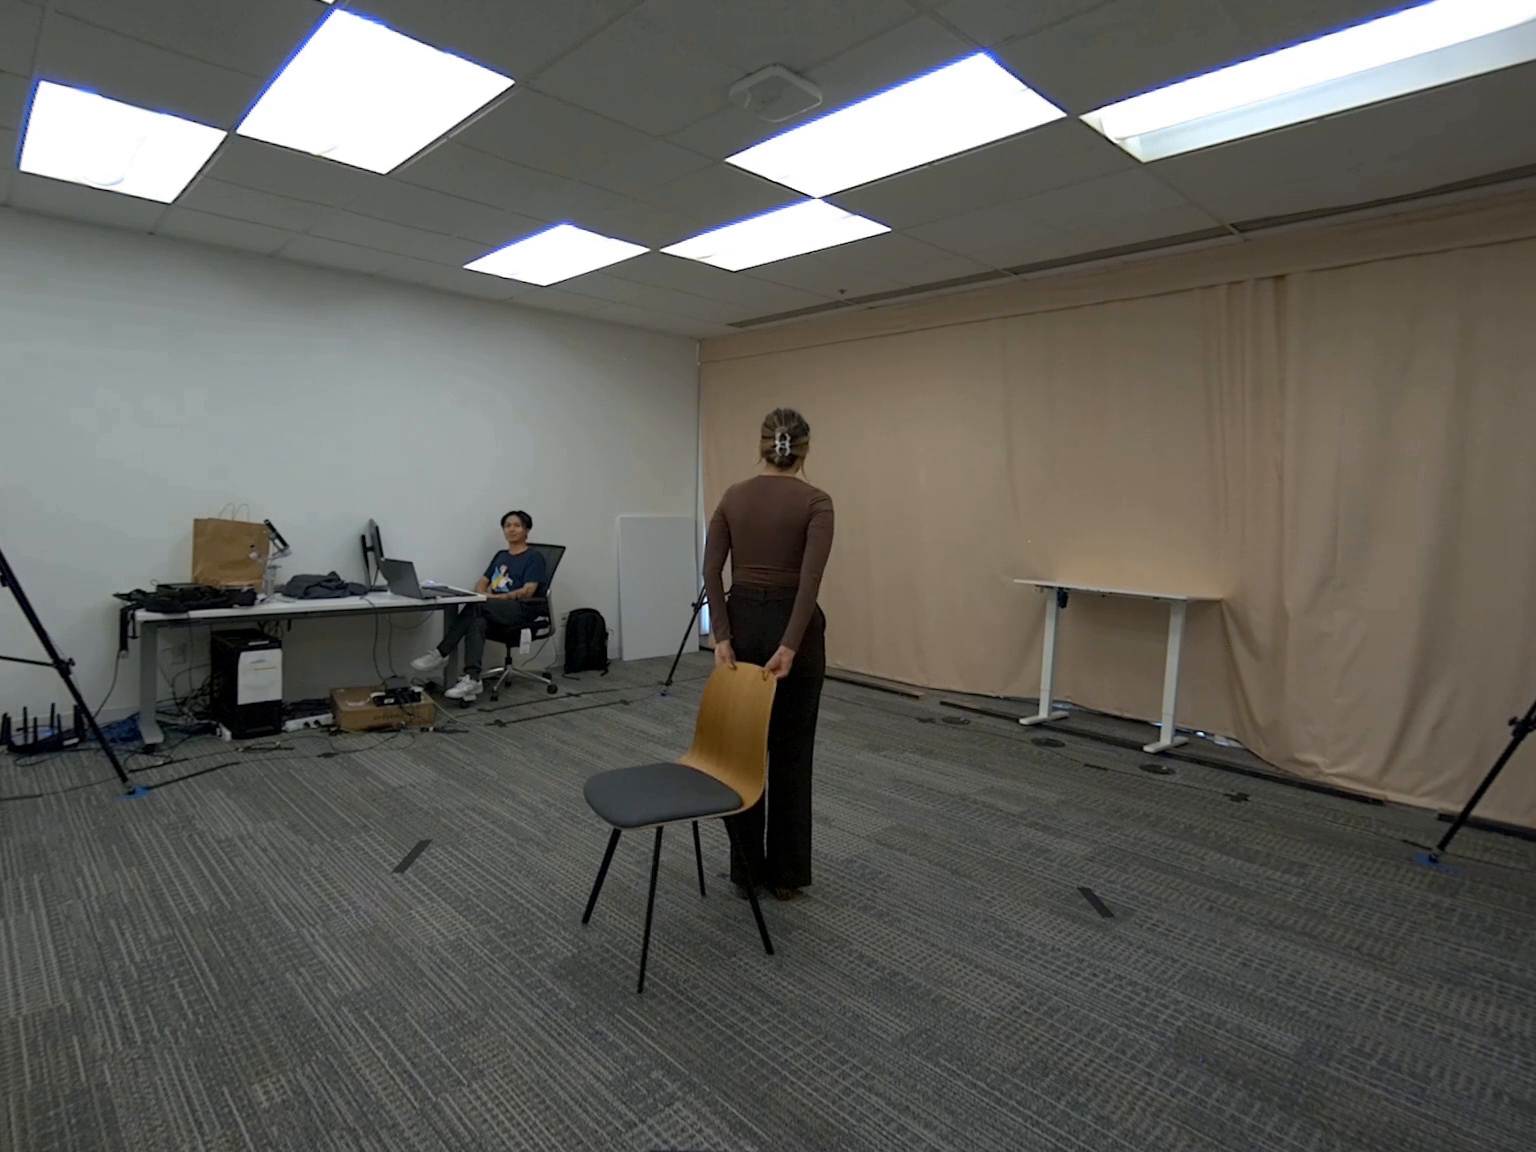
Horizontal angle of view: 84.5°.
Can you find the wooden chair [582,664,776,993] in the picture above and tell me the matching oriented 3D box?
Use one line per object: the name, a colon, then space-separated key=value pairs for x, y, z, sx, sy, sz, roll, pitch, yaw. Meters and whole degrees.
wooden chair: x=-0.286 y=0.720 z=2.618 sx=0.511 sy=0.877 sz=0.489 roll=5 pitch=1 yaw=-32
